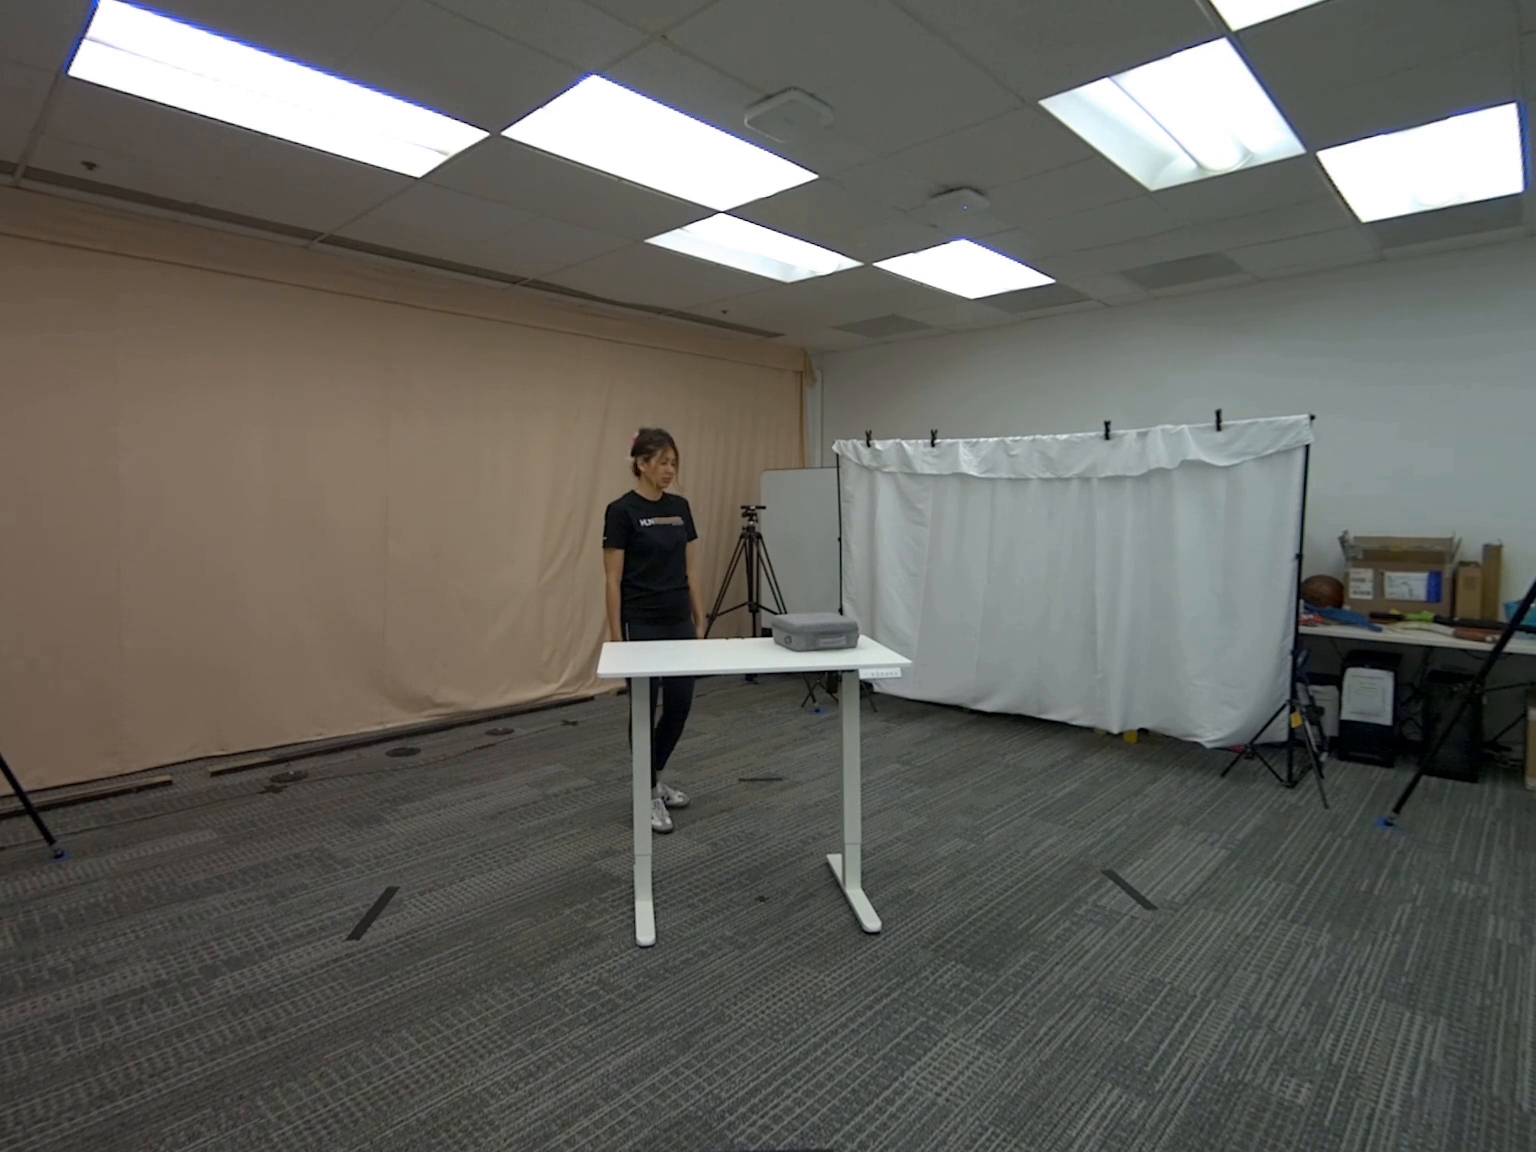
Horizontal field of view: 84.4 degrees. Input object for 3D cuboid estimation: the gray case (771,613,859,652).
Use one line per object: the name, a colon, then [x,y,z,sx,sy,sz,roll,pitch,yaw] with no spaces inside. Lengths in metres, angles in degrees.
gray case: [0.173,0.200,3.046,0.252,0.104,0.266,-2,5,-18]
